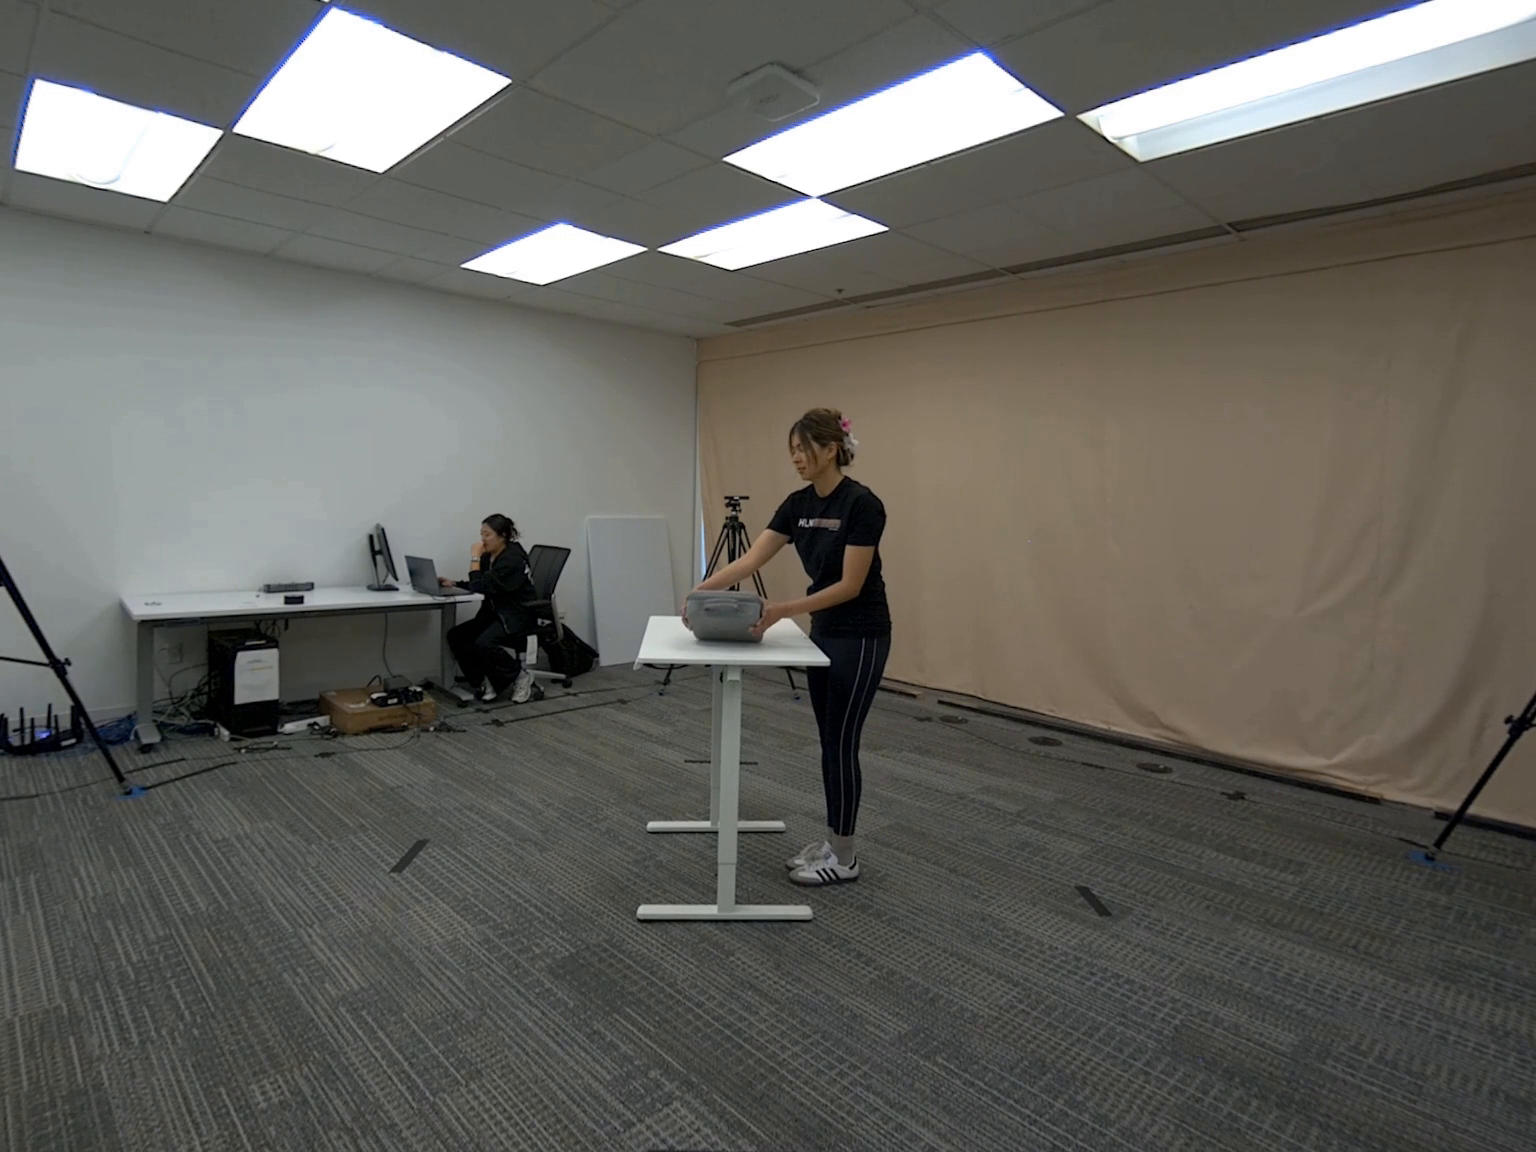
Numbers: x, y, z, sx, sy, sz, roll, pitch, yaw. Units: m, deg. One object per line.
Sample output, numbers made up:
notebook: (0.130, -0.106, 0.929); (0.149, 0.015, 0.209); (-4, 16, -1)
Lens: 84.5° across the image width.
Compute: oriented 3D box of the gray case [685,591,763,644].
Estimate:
gray case: (-0.147, 0.146, 2.893); (0.259, 0.106, 0.255); (1, -24, 9)
